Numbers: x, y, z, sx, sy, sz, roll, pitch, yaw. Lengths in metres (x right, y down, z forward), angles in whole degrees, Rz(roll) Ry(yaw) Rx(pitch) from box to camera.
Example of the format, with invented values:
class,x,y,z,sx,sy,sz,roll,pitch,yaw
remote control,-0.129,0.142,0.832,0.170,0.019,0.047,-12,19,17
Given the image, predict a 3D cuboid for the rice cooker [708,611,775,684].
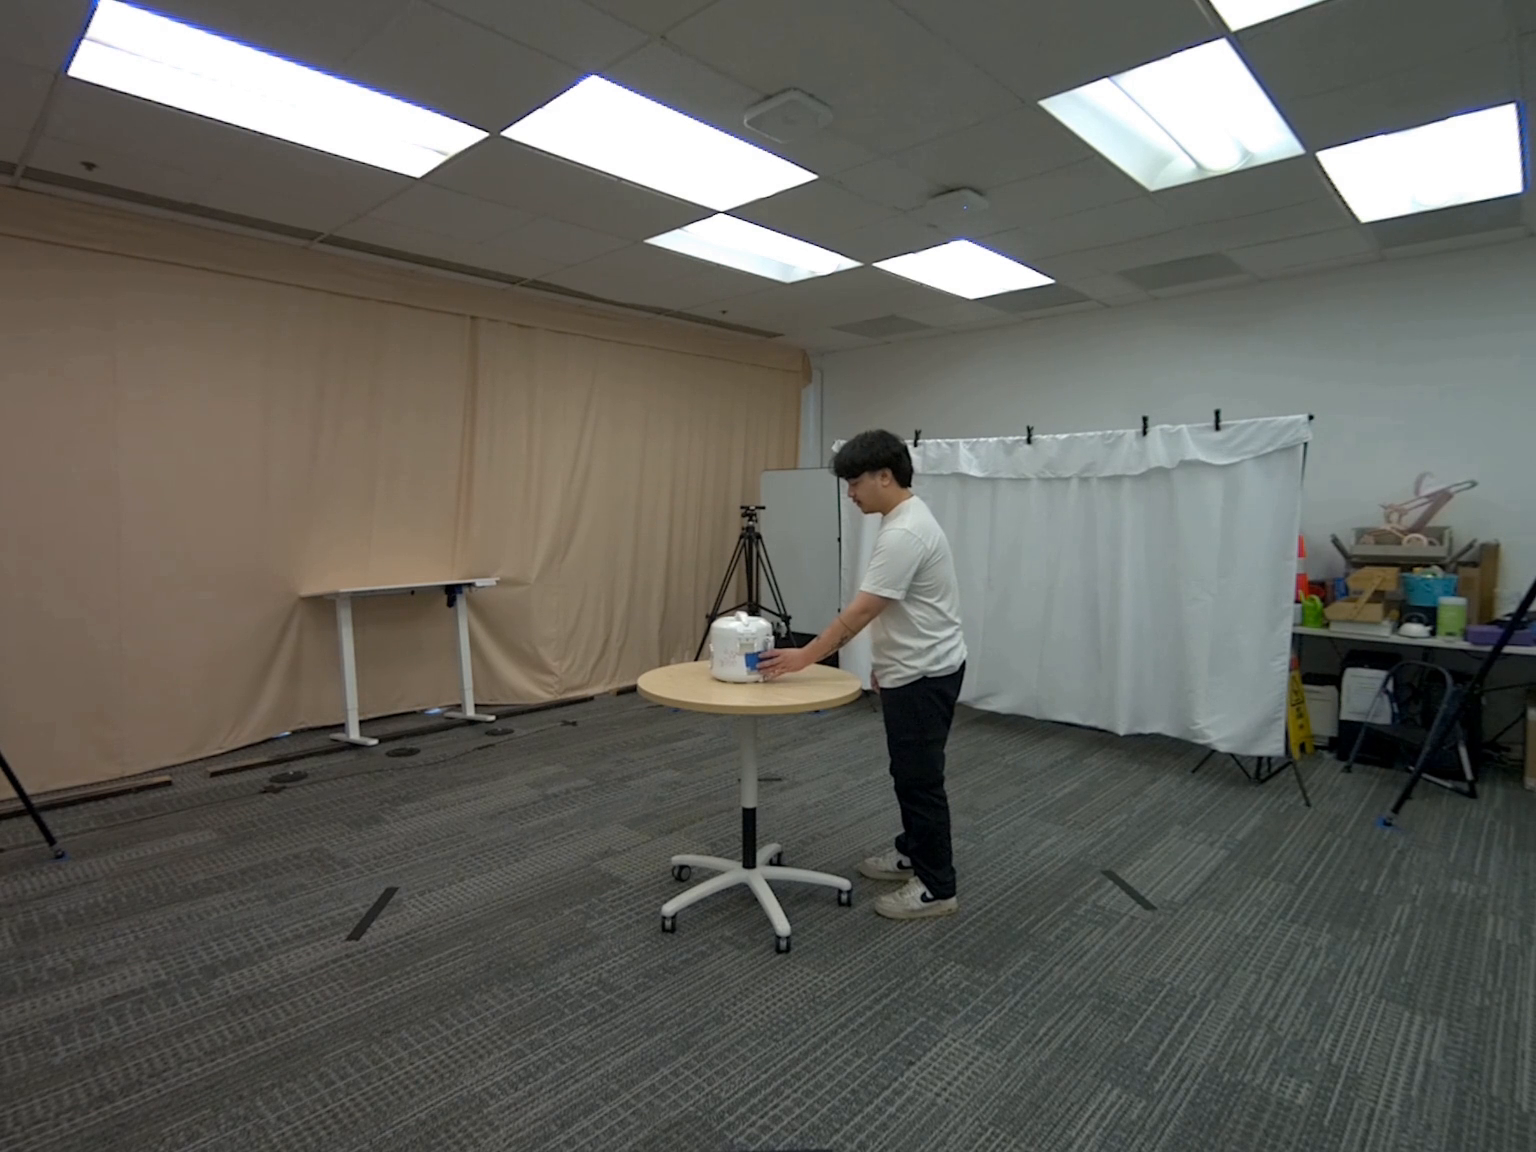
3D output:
class,x,y,z,sx,sy,sz,roll,pitch,yaw
rice cooker,-0.089,0.238,2.901,0.215,0.232,0.223,-2,4,-10
